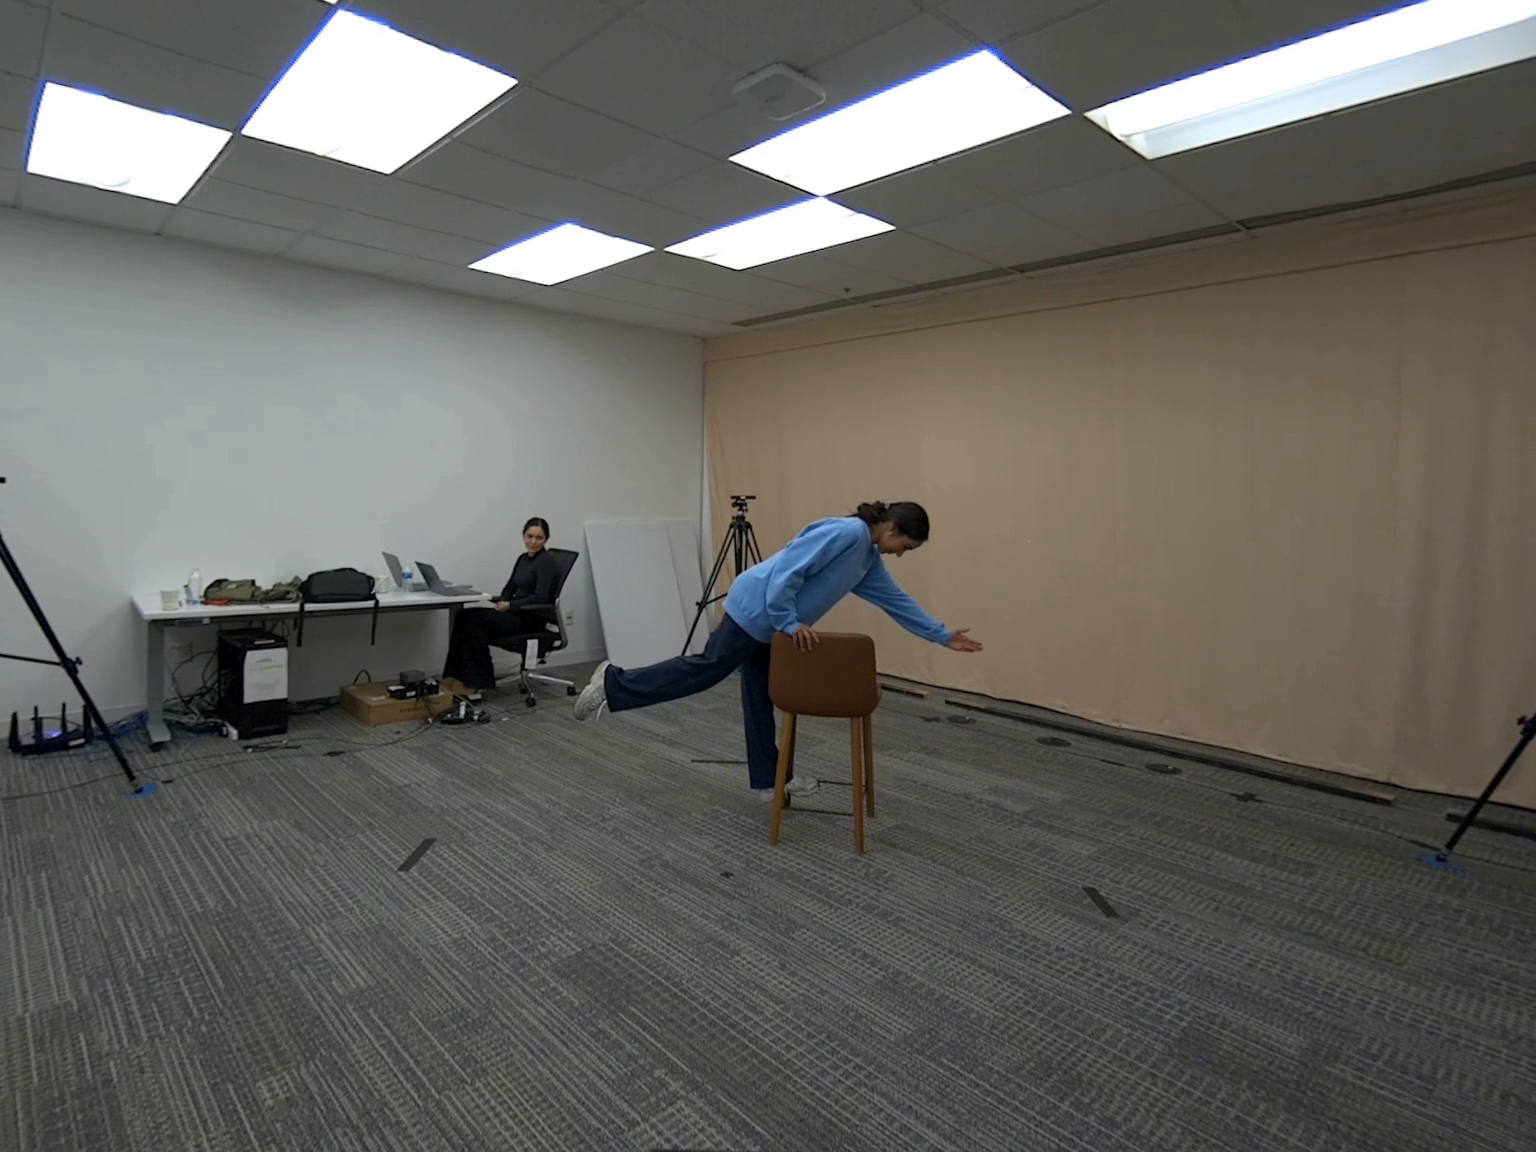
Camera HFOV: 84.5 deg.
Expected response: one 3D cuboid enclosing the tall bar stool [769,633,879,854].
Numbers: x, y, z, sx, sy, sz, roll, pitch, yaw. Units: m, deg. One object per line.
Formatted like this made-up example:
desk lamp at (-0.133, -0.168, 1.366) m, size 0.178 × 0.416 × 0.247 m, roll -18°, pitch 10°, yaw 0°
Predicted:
tall bar stool at (0.237, 0.637, 3.544) m, size 0.461 × 0.887 × 0.464 m, roll 2°, pitch 5°, yaw 13°
